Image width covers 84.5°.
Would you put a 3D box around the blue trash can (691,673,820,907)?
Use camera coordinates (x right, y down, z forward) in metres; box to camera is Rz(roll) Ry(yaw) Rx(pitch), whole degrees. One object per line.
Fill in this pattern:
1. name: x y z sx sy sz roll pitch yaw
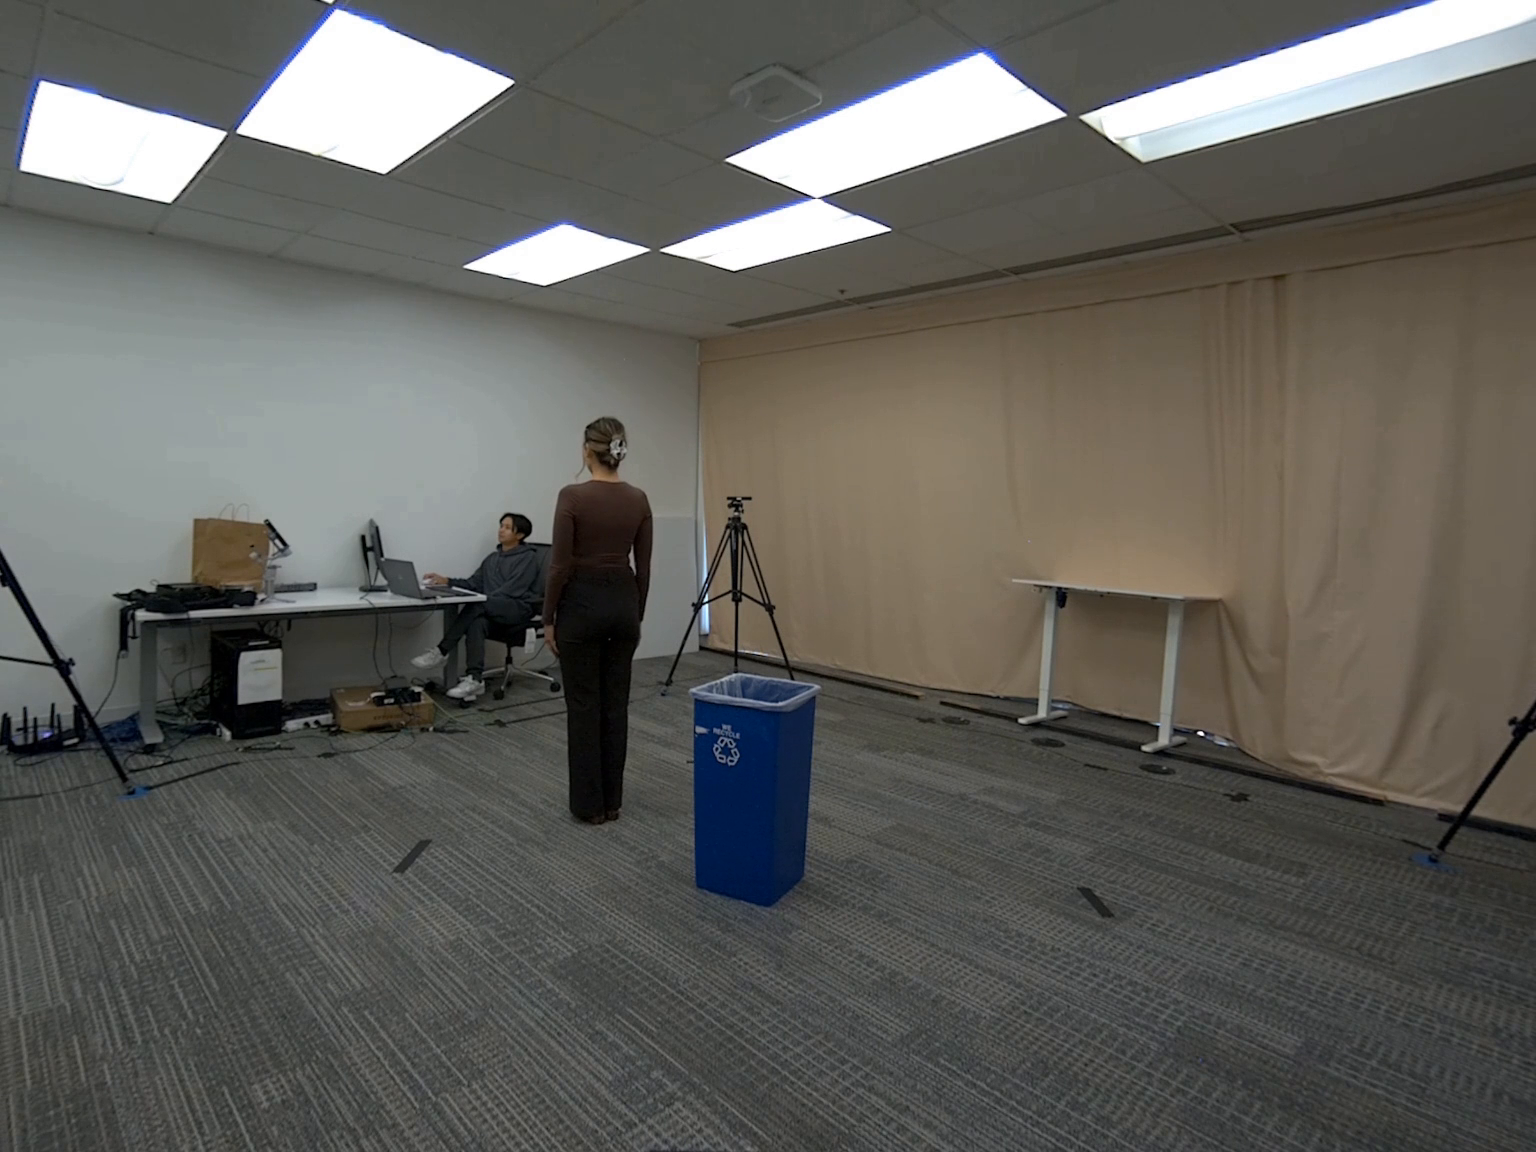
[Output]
1. blue trash can: -0.054 0.754 3.043 0.382 0.712 0.371 3 4 28
